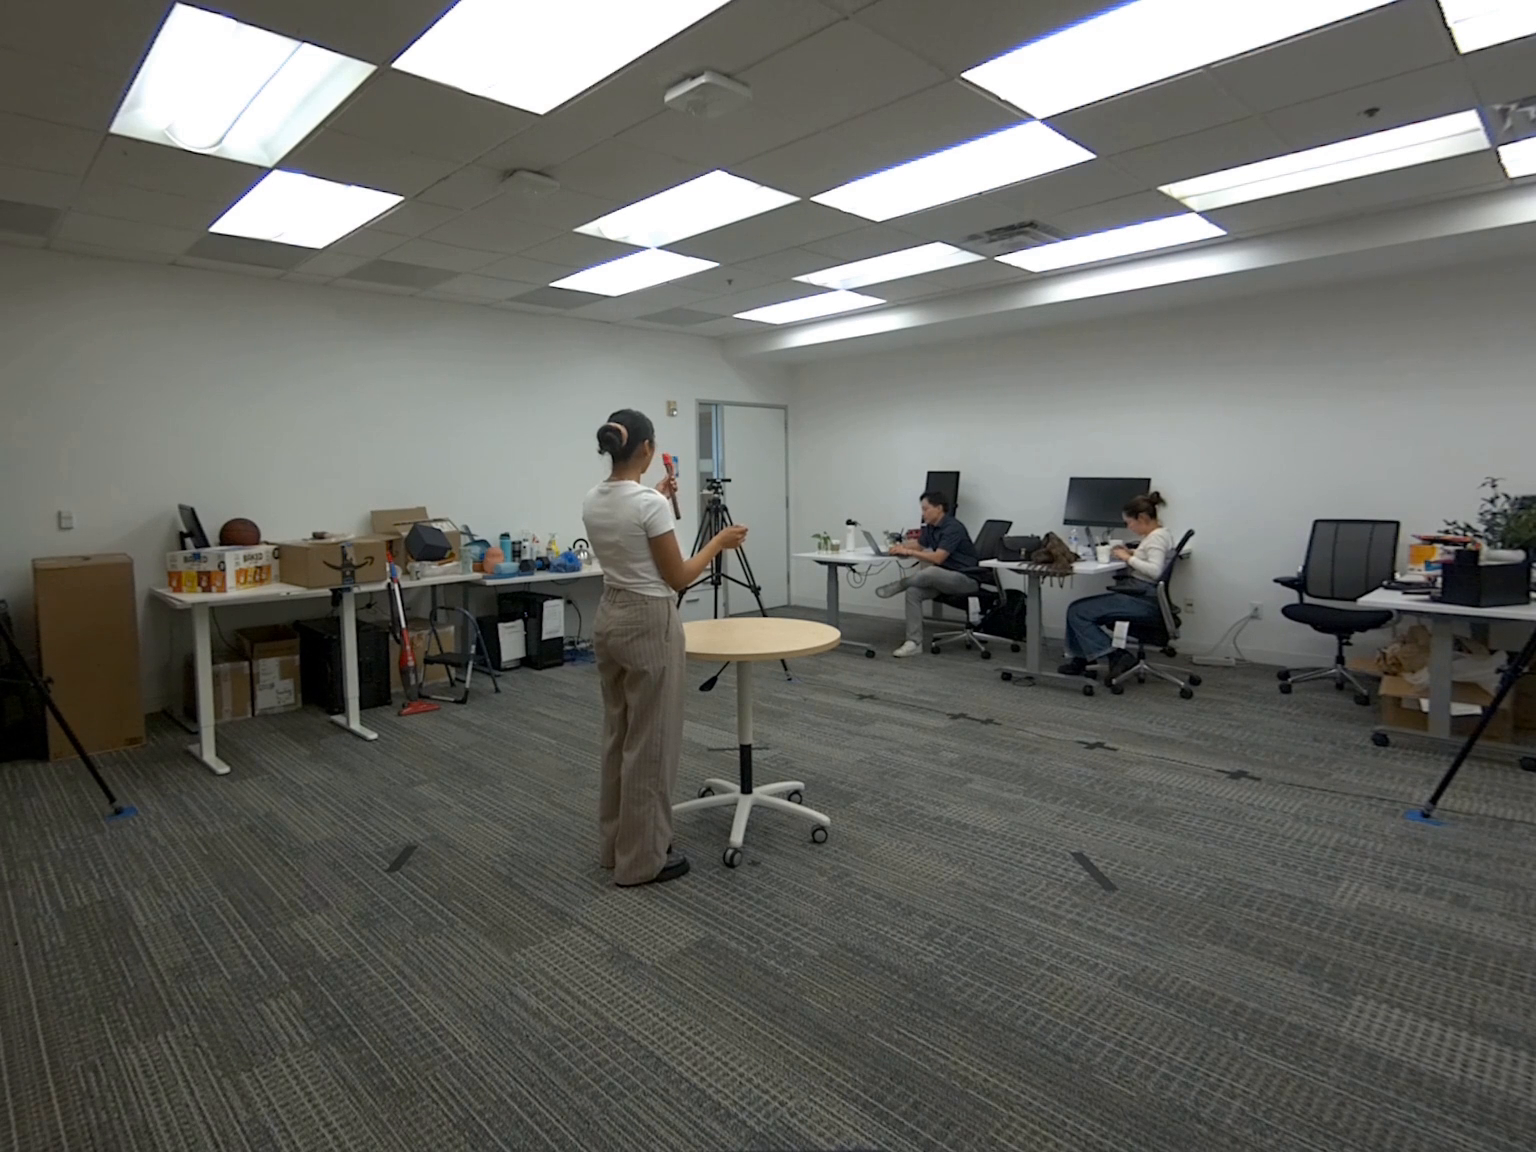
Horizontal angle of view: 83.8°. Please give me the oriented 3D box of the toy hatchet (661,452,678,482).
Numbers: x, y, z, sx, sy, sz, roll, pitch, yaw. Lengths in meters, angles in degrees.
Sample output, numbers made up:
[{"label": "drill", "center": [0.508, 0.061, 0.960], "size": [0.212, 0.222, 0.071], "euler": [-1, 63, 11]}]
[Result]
[{"label": "toy hatchet", "center": [-0.376, -0.353, 3.368], "size": [0.030, 0.270, 0.130], "euler": [-10, -1, 8]}]
